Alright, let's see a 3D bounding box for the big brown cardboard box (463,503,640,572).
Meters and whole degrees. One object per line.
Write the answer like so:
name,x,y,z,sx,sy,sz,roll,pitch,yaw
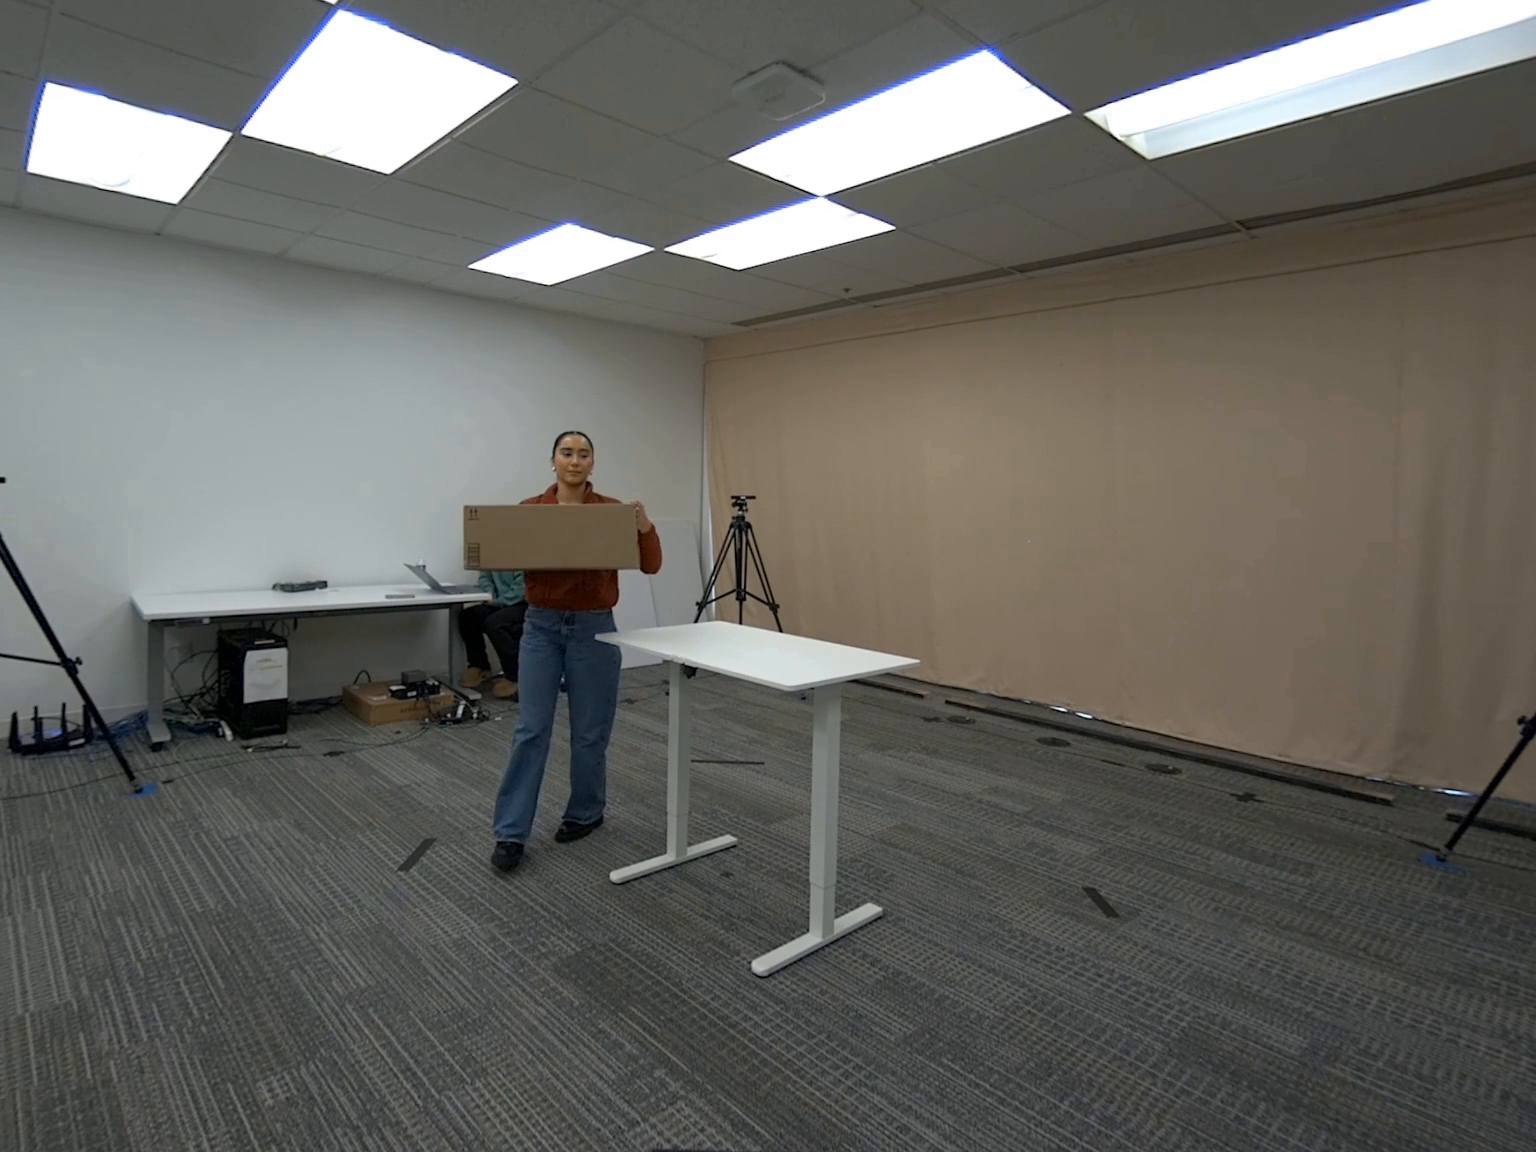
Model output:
big brown cardboard box,-0.777,-0.139,2.995,0.585,0.233,0.420,0,0,-9
